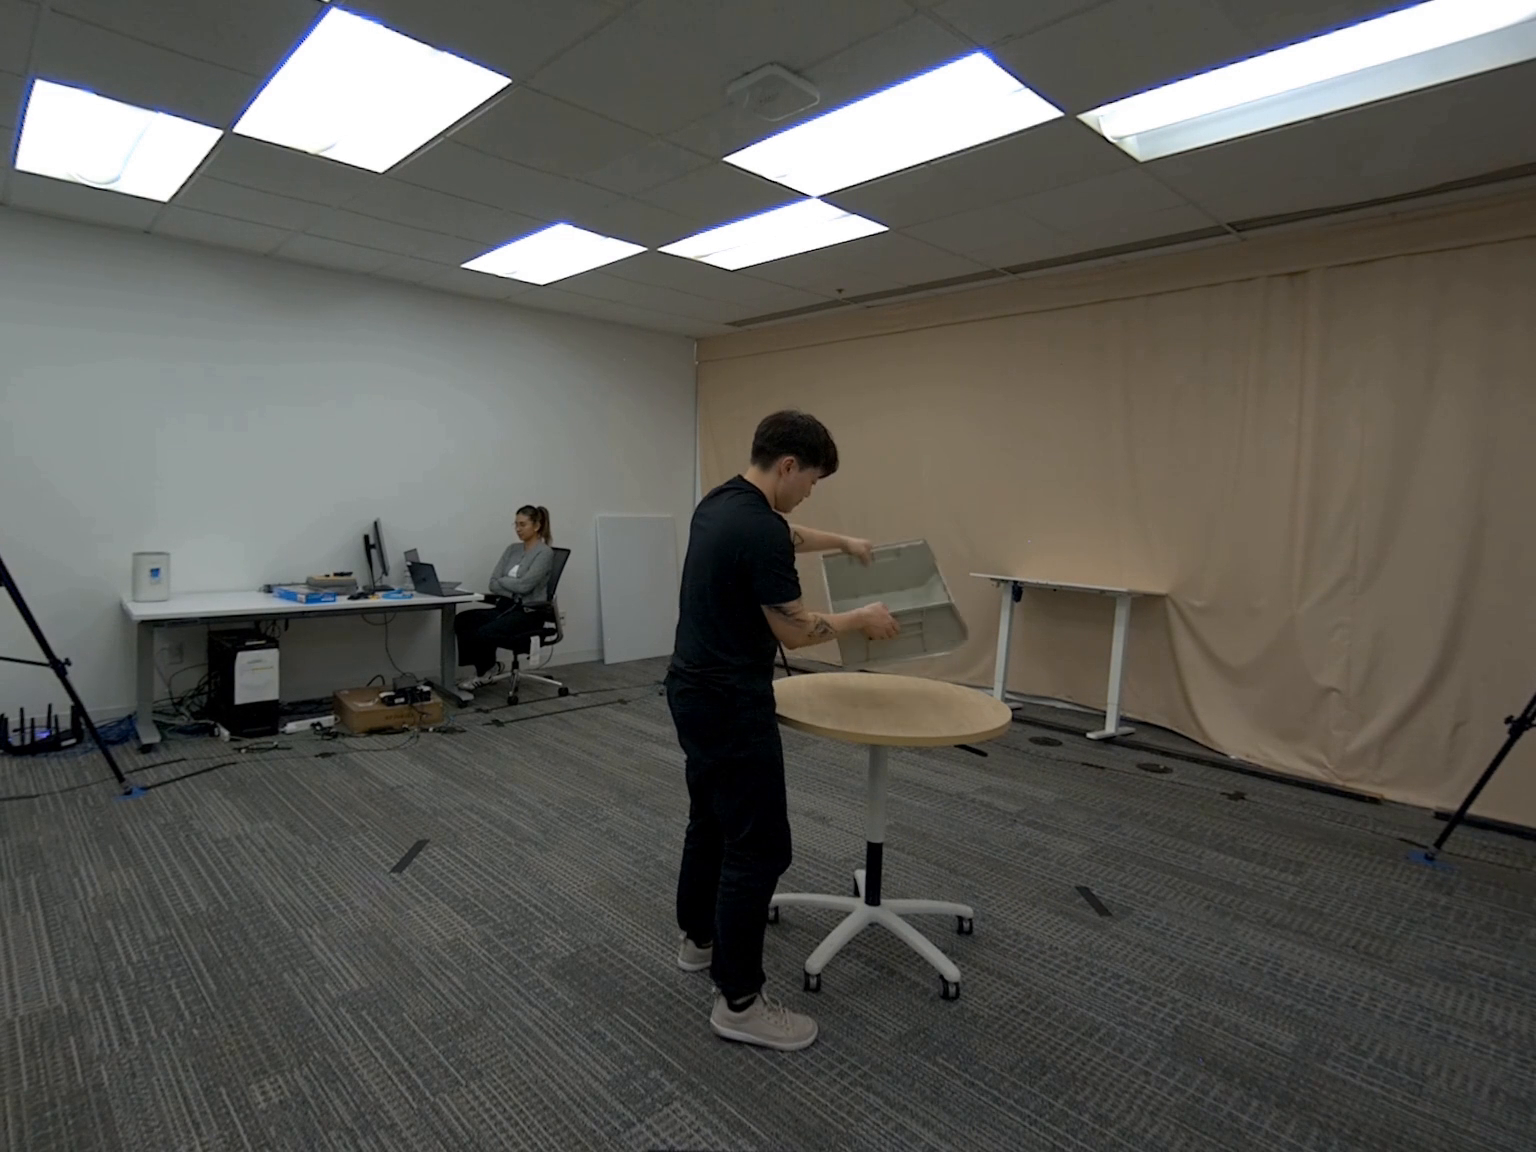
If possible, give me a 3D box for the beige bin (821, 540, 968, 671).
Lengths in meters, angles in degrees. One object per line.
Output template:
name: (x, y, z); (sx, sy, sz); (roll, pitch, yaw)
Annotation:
beige bin: (0.371, 0.076, 2.572); (0.378, 0.185, 0.430); (-11, 27, 4)
